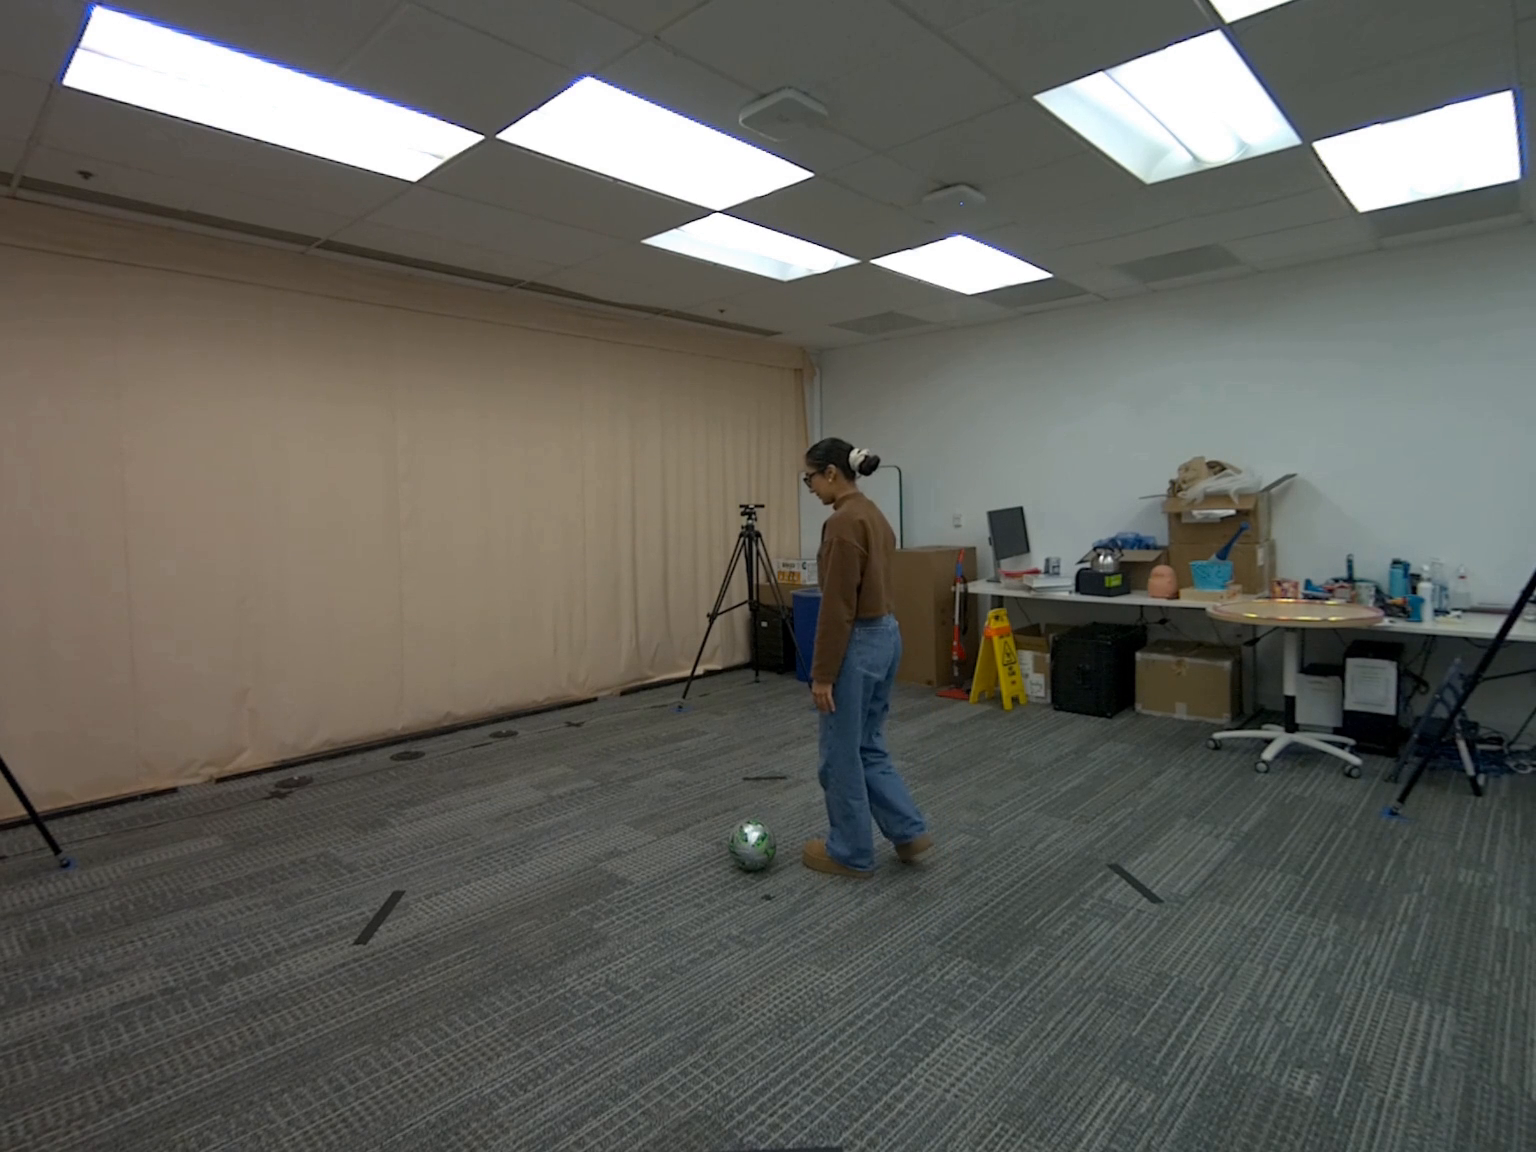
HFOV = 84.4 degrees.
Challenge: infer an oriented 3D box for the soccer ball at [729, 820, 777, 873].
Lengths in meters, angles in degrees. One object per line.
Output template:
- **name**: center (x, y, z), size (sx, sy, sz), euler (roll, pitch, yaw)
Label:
- **soccer ball**: center (-0.059, 1.025, 3.222), size (0.187, 0.187, 0.188), euler (-1, 4, -2)
